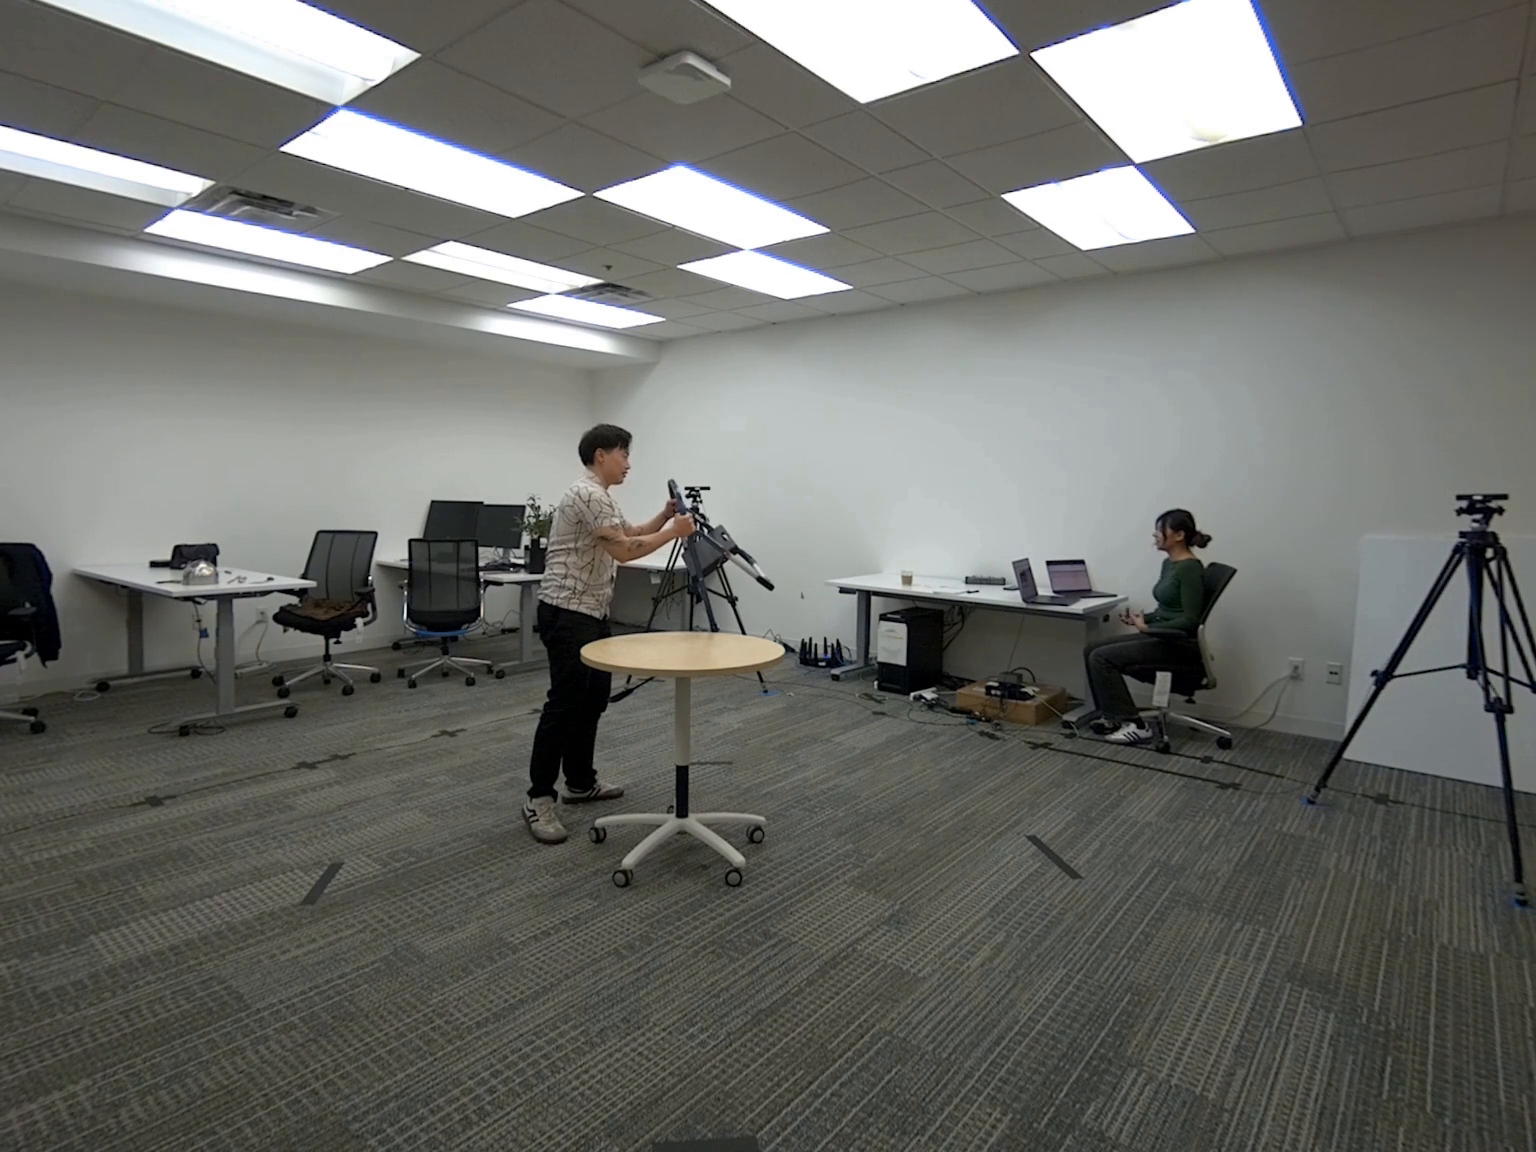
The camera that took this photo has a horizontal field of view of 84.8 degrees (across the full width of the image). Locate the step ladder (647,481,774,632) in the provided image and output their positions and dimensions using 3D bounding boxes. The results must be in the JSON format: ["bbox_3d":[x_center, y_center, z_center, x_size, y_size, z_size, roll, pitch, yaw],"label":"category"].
[{"bbox_3d":[-0.323,-0.133,3.794,0.349,0.589,0.443,-36,22,-1],"label":"step ladder"}]
